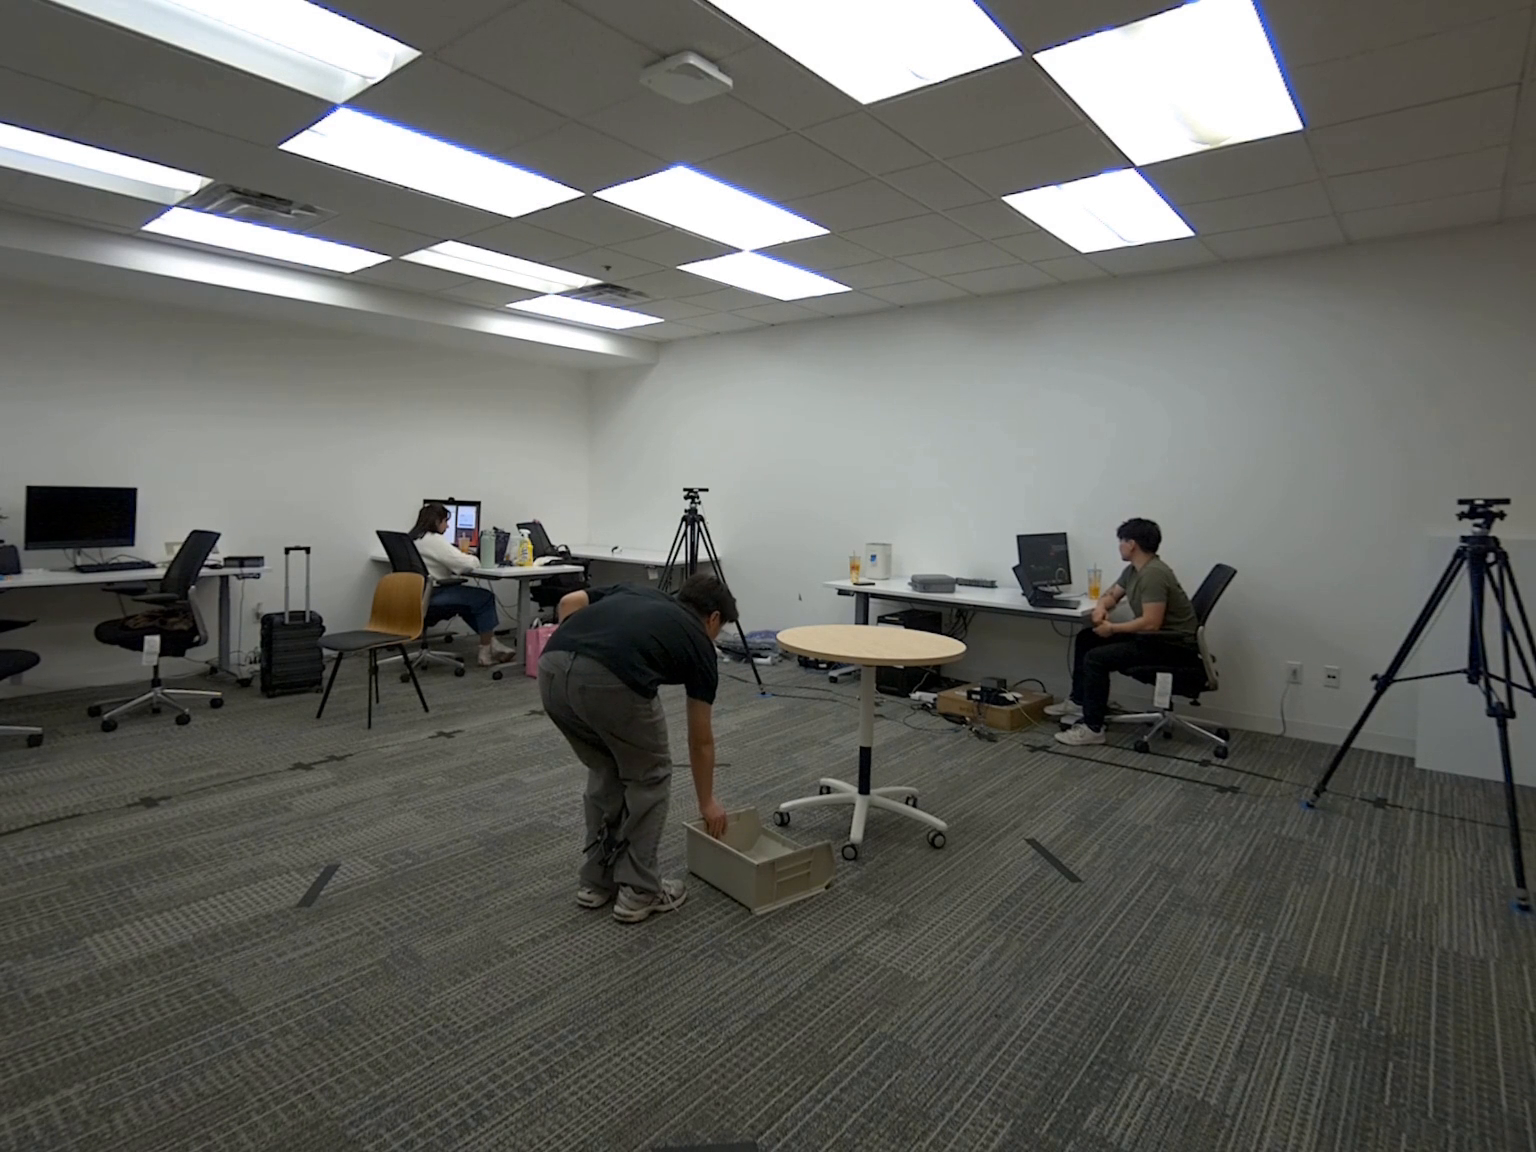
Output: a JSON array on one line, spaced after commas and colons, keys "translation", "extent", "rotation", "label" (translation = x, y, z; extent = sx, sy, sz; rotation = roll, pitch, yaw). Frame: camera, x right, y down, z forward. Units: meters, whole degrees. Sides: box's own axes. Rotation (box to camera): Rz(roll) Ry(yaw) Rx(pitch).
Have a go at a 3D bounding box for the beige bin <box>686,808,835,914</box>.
[{"translation": [-0.044, 0.986, 3.031], "extent": [0.366, 0.188, 0.437], "rotation": [-4, 8, -39], "label": "beige bin"}]
